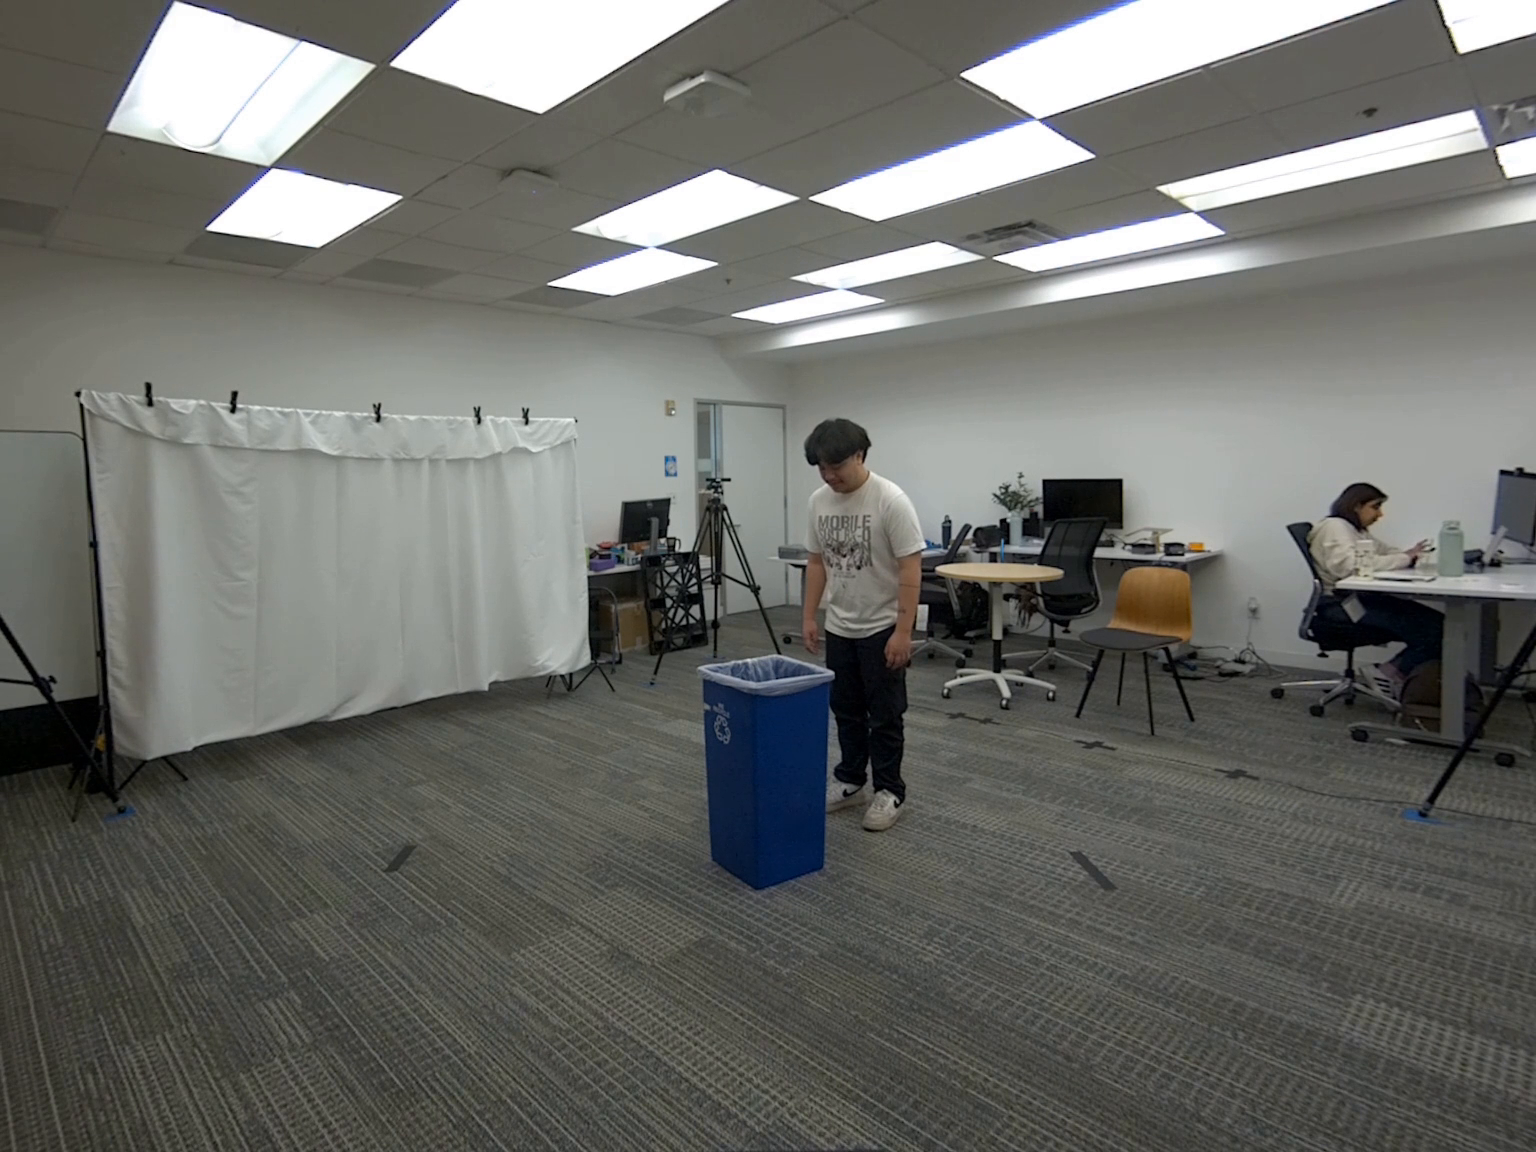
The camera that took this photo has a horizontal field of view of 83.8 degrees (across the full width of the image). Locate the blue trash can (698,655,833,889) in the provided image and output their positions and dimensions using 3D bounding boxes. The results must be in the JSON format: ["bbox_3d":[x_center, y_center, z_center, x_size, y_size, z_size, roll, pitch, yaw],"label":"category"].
[{"bbox_3d":[0.000,0.686,3.069,0.368,0.711,0.385,-4,5,-35],"label":"blue trash can"}]
